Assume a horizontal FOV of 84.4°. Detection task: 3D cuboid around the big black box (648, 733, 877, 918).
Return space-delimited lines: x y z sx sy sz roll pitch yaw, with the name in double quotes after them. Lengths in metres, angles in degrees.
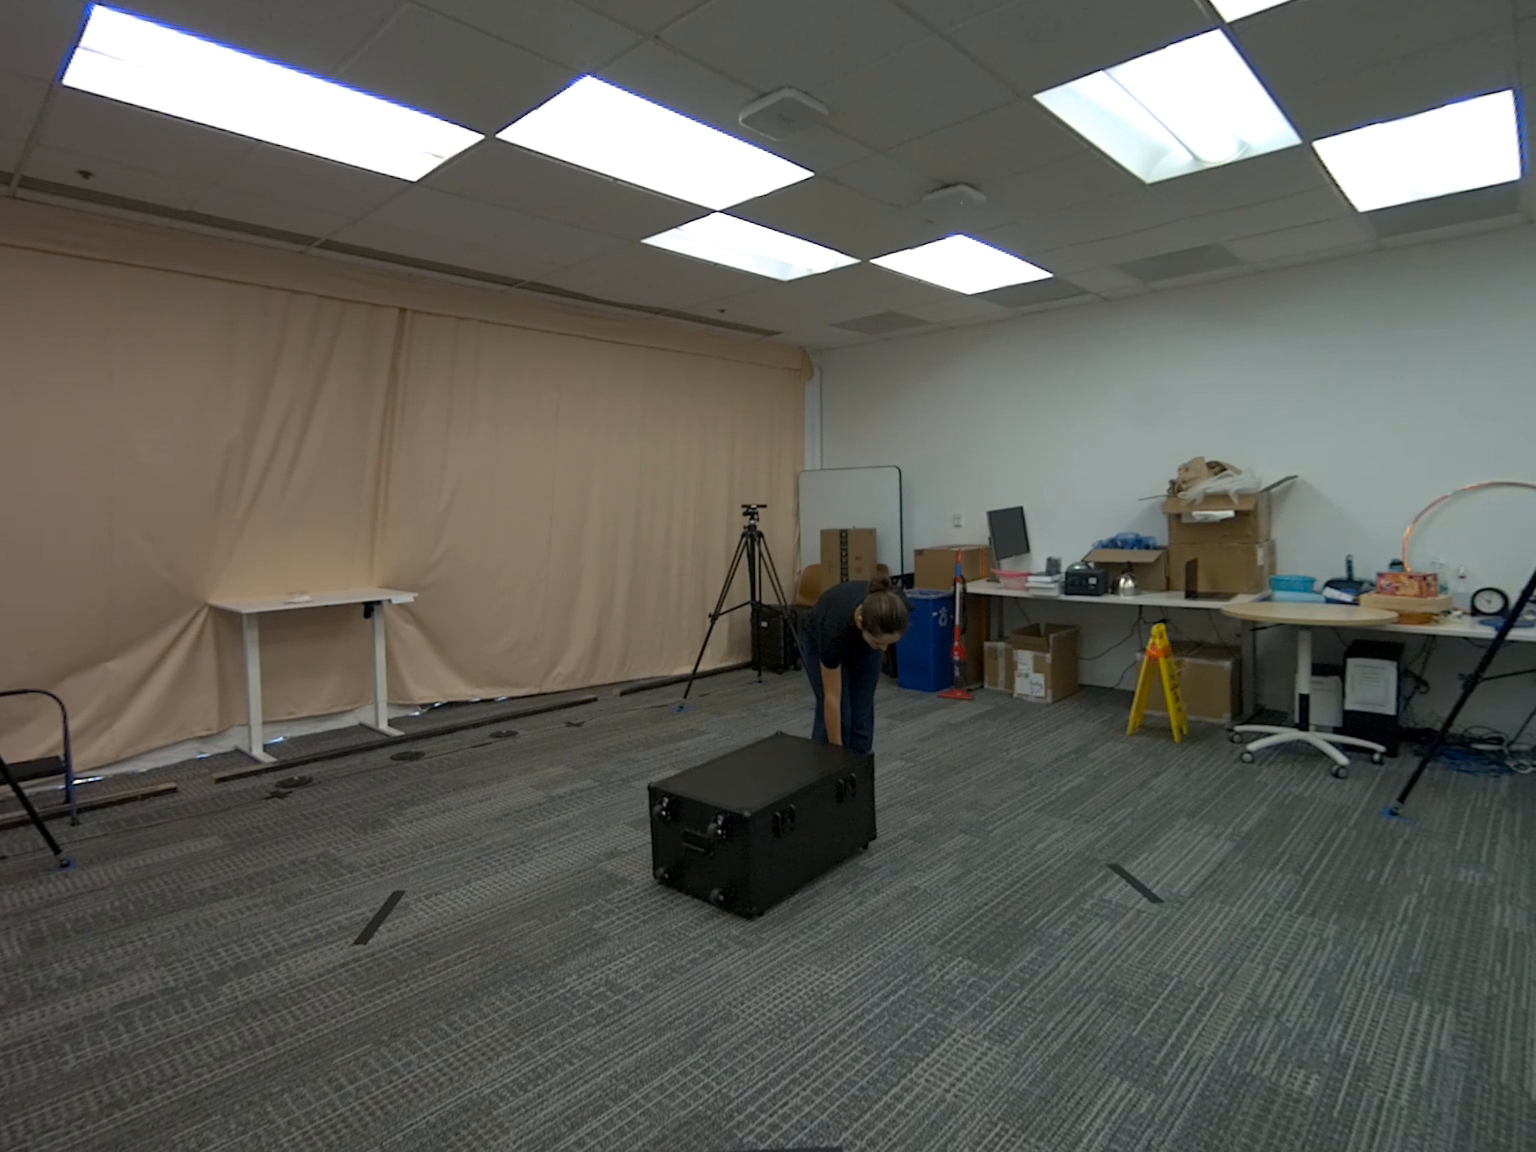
-0.016 0.921 3.205 0.538 0.395 0.836 2 6 40 "big black box"
